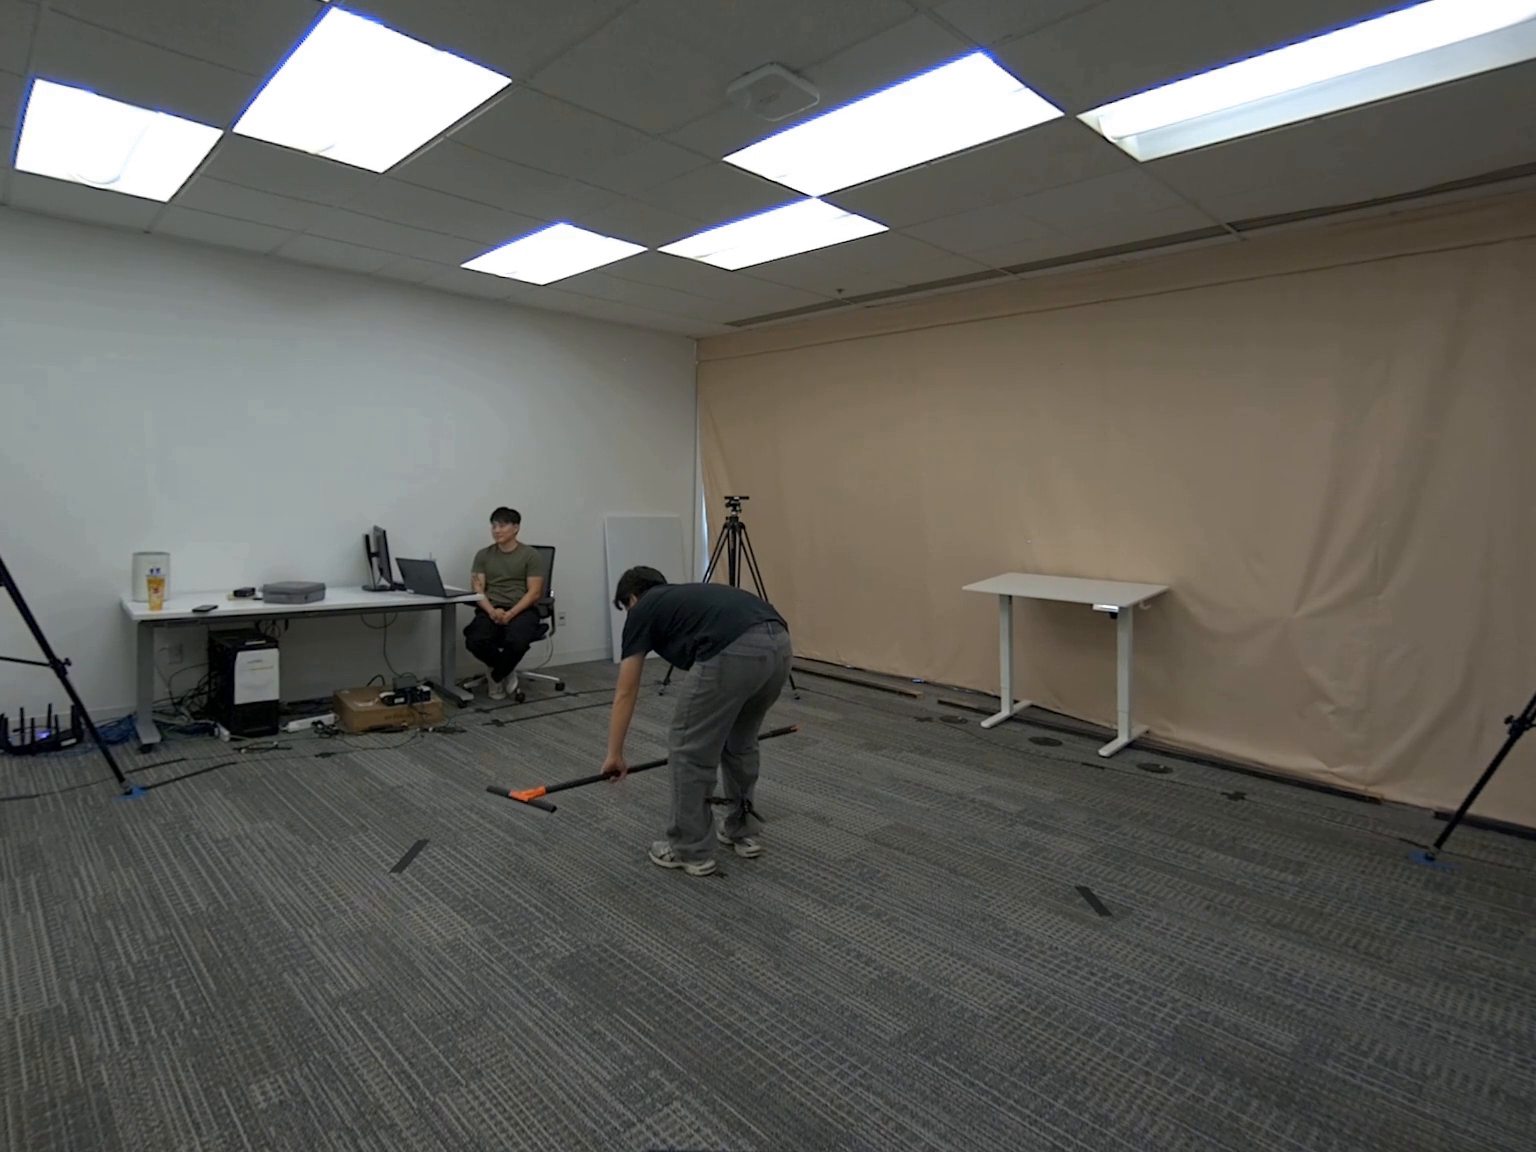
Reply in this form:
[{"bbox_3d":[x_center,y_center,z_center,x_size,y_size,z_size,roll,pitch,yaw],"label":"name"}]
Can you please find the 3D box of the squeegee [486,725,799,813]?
[{"bbox_3d":[-0.382,0.750,3.481,0.448,0.053,1.502,1,2,44],"label":"squeegee"}]
